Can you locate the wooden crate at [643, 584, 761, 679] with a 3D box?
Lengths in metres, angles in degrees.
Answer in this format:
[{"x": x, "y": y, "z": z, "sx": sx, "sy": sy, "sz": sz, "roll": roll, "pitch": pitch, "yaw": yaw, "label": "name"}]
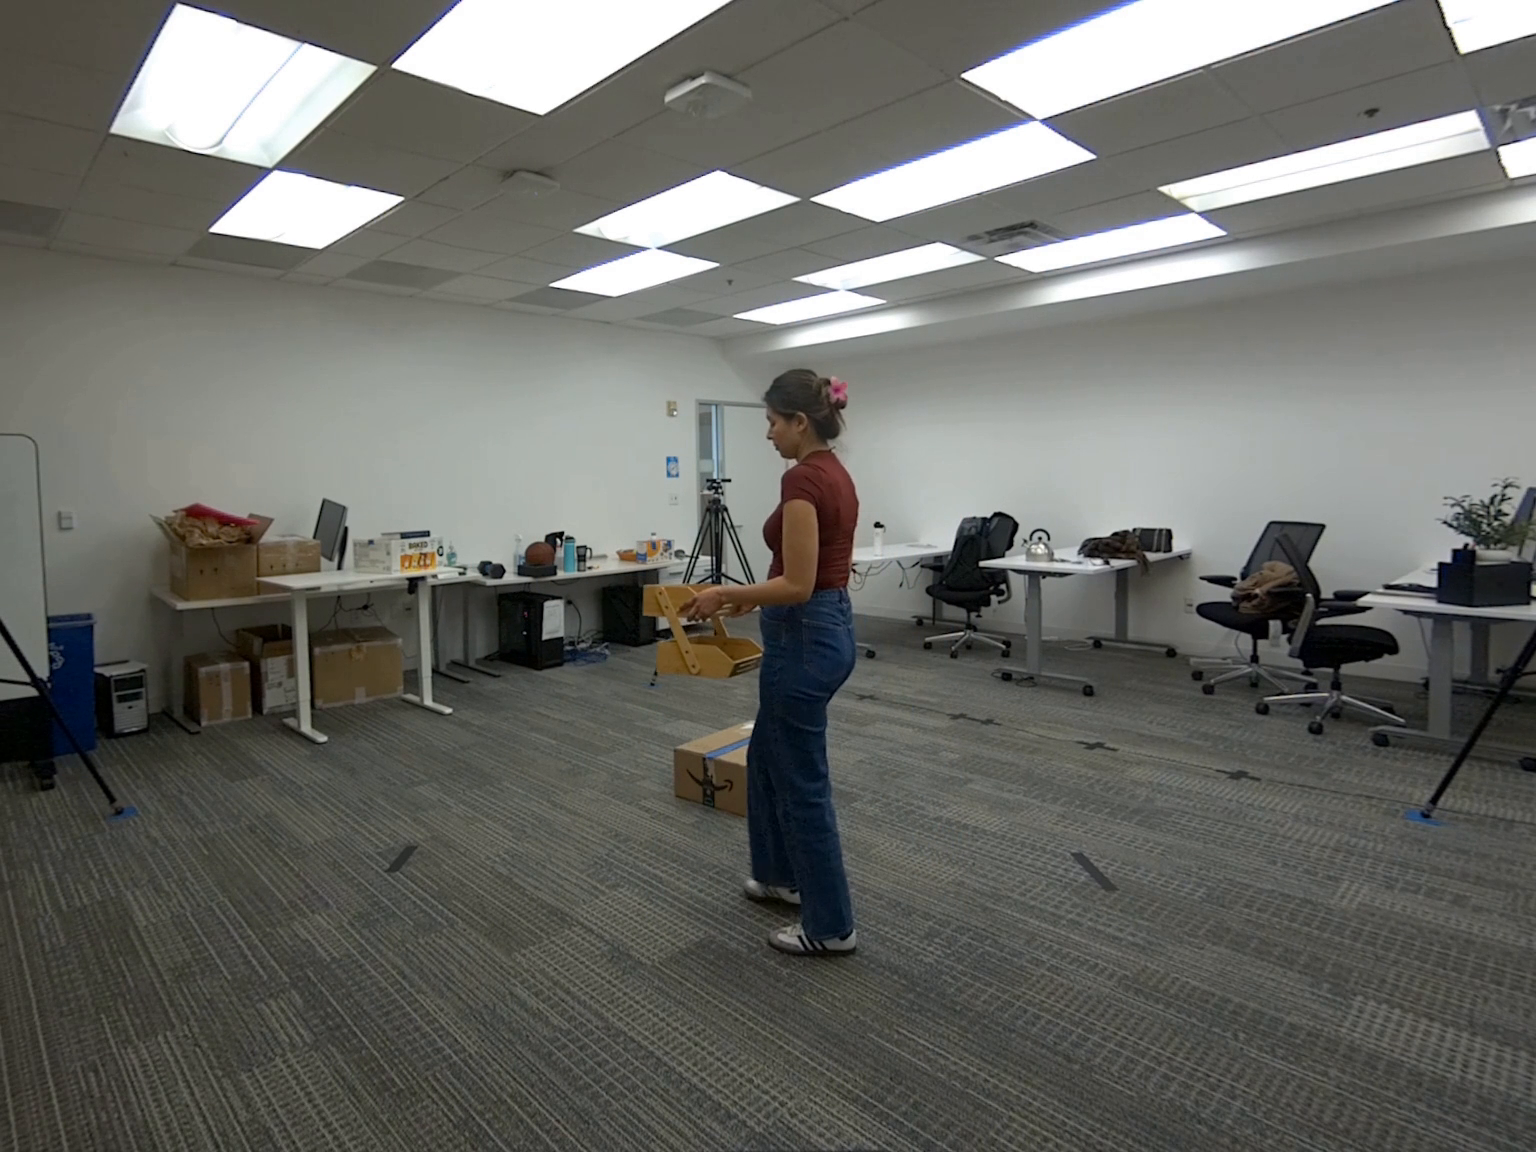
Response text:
[{"x": -0.192, "y": 0.159, "z": 2.660, "sx": 0.308, "sy": 0.274, "sz": 0.317, "roll": 1, "pitch": -1, "yaw": 21, "label": "wooden crate"}]
